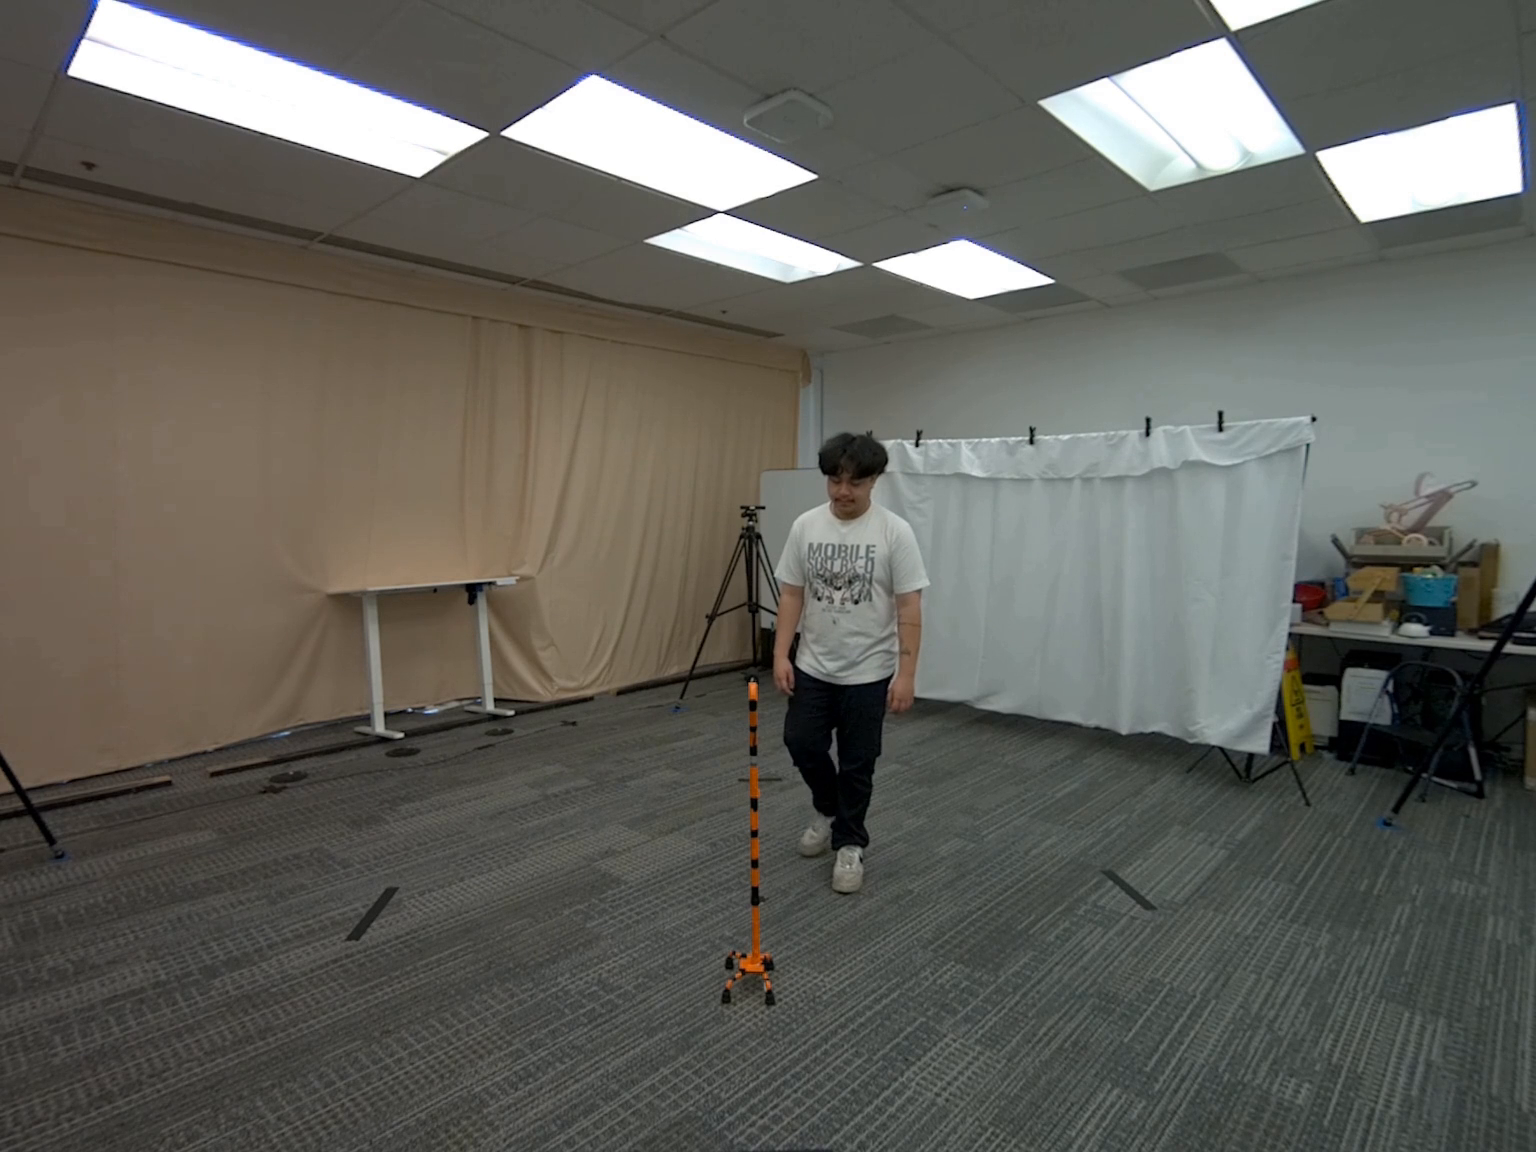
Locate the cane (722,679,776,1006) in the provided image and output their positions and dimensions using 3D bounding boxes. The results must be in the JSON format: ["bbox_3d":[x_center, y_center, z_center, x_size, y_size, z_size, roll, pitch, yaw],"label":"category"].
[{"bbox_3d":[-0.053,0.742,2.426,0.152,0.906,0.206,0,3,0],"label":"cane"}]
